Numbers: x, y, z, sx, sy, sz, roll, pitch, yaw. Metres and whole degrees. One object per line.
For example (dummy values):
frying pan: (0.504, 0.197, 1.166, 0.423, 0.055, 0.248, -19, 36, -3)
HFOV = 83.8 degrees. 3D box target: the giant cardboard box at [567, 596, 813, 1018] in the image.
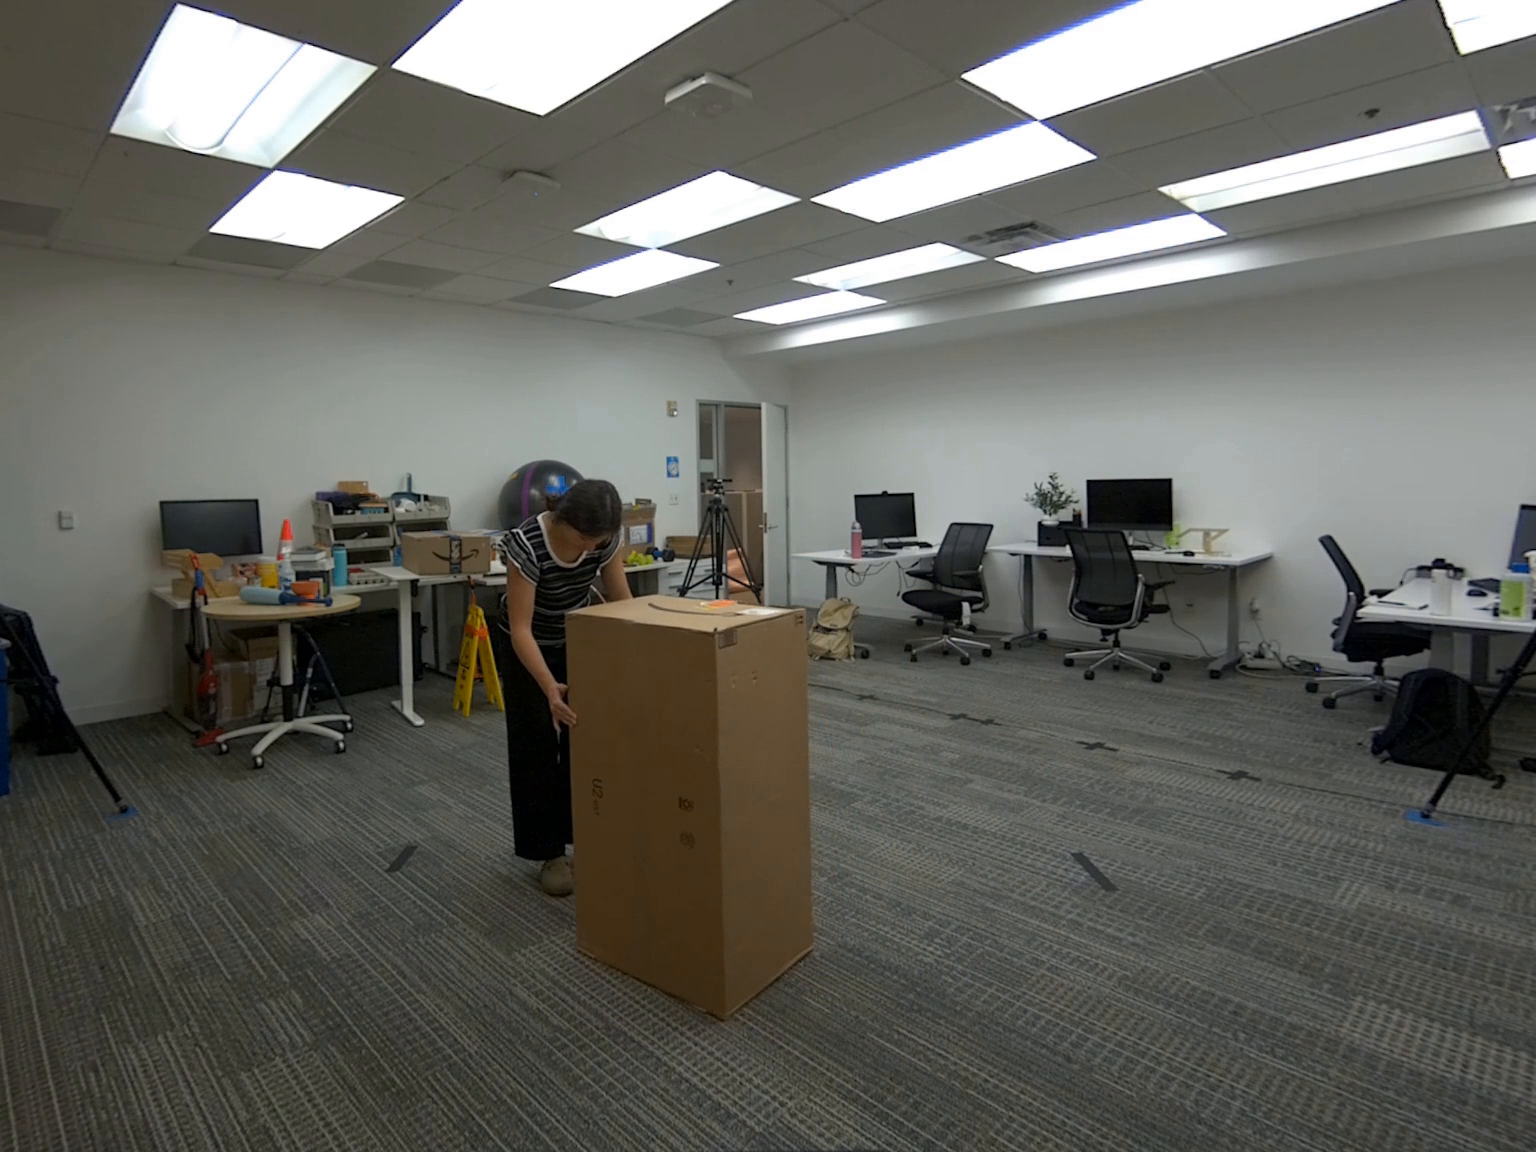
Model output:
giant cardboard box: (-0.228, 0.609, 2.510, 0.594, 1.022, 0.415, 2, 5, 37)
